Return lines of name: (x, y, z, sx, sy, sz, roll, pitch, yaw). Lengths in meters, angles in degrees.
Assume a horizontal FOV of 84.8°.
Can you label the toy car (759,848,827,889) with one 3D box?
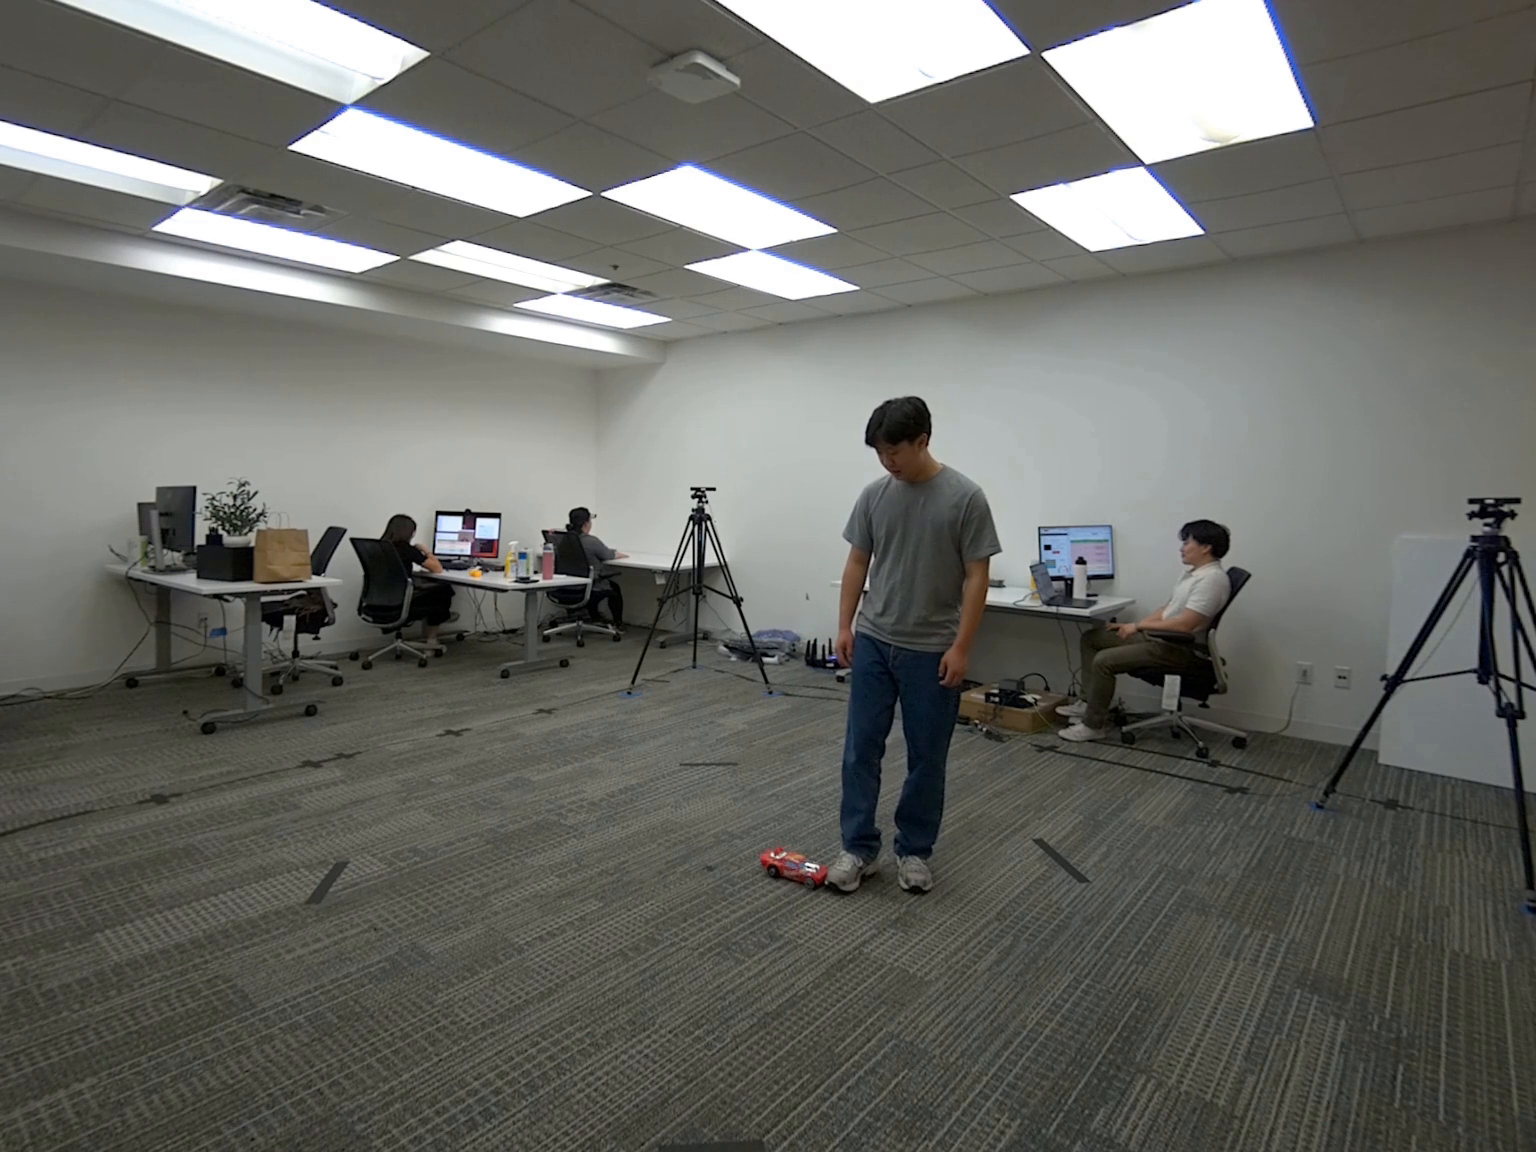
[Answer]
toy car: (0.070, 1.045, 3.072, 0.263, 0.082, 0.127, 18, 13, 31)
